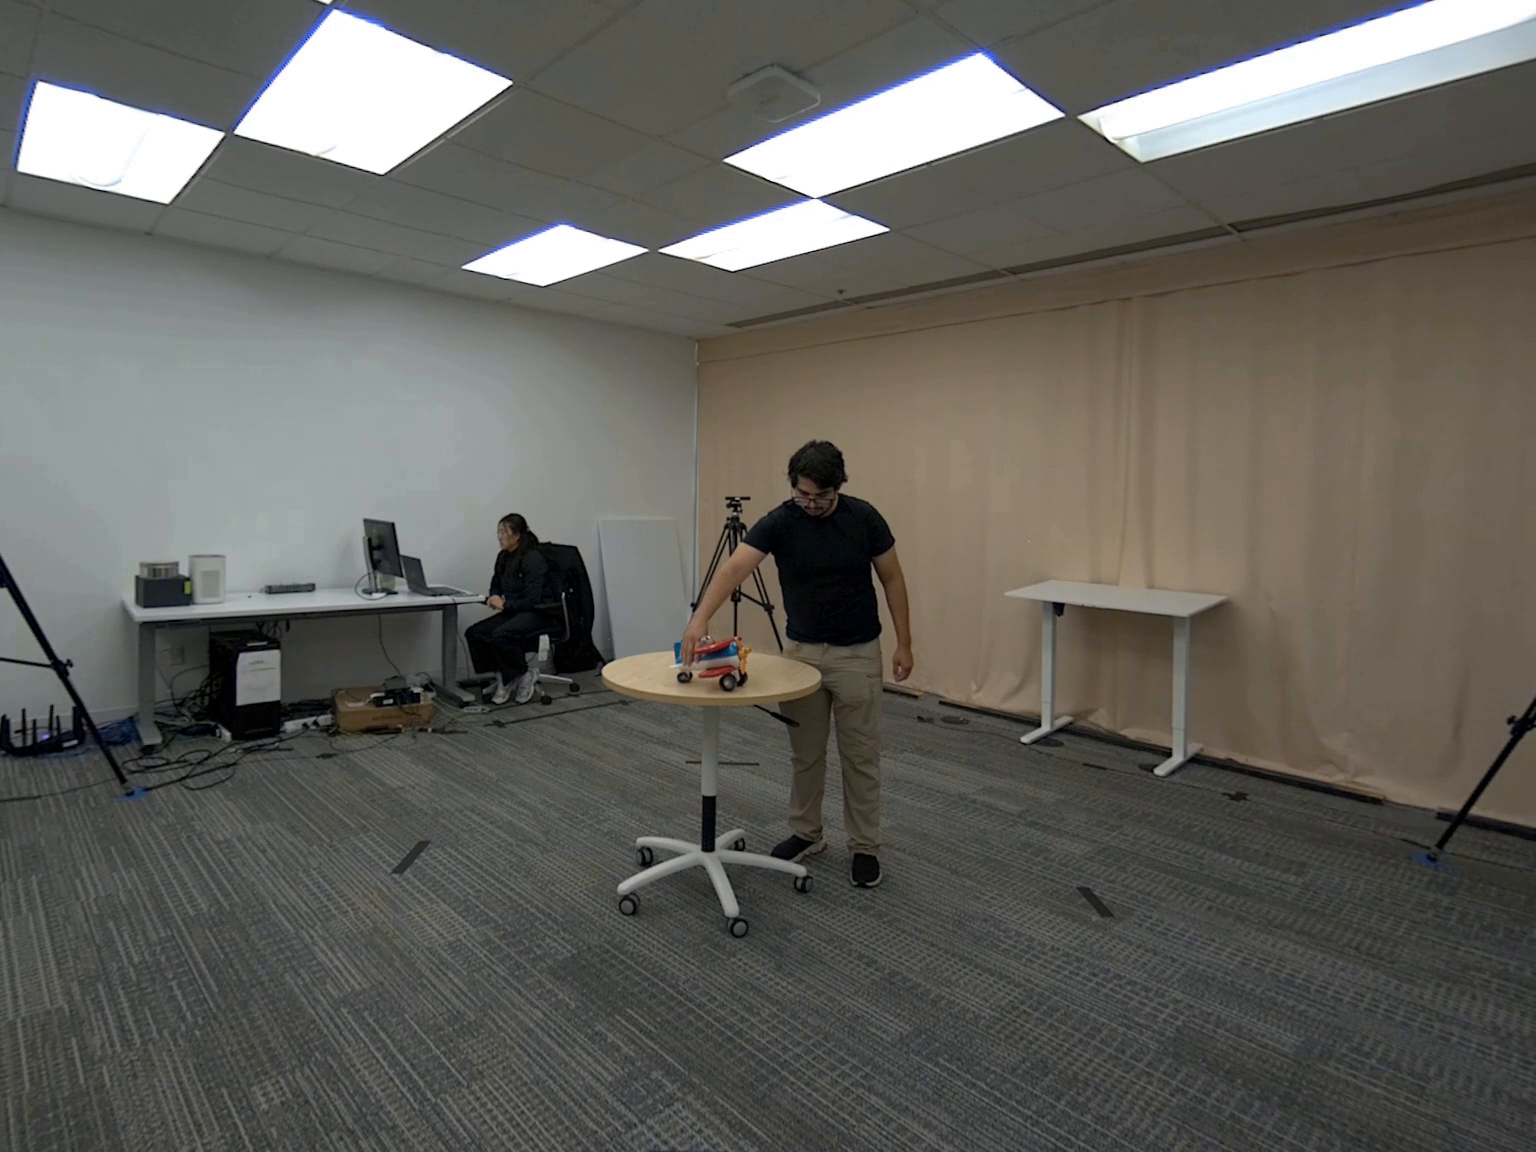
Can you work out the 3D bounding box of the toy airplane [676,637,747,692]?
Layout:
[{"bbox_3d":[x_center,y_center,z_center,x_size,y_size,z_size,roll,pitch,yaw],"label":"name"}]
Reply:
[{"bbox_3d":[-0.198,0.283,2.709,0.258,0.156,0.253,2,5,-6],"label":"toy airplane"}]
